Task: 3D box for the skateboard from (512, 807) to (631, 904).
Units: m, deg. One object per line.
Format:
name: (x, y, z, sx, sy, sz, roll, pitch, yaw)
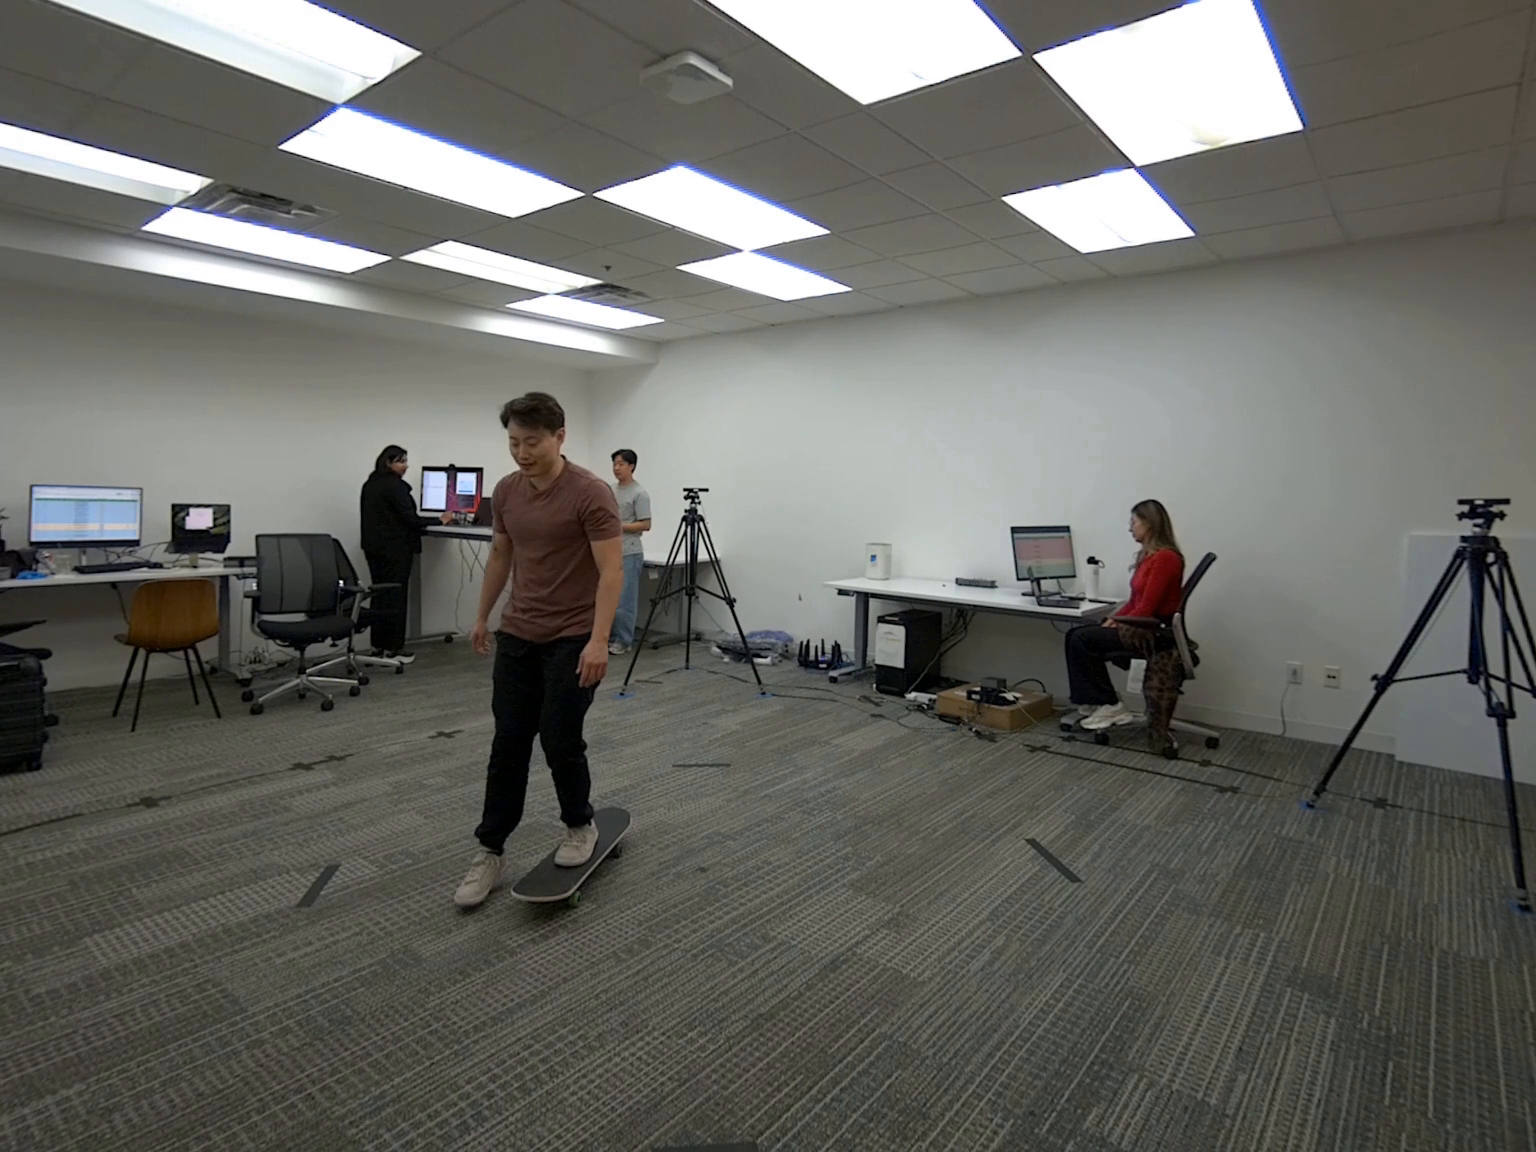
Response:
skateboard: (-0.693, 1.012, 3.030, 0.196, 0.110, 0.777, 2, 5, 11)
